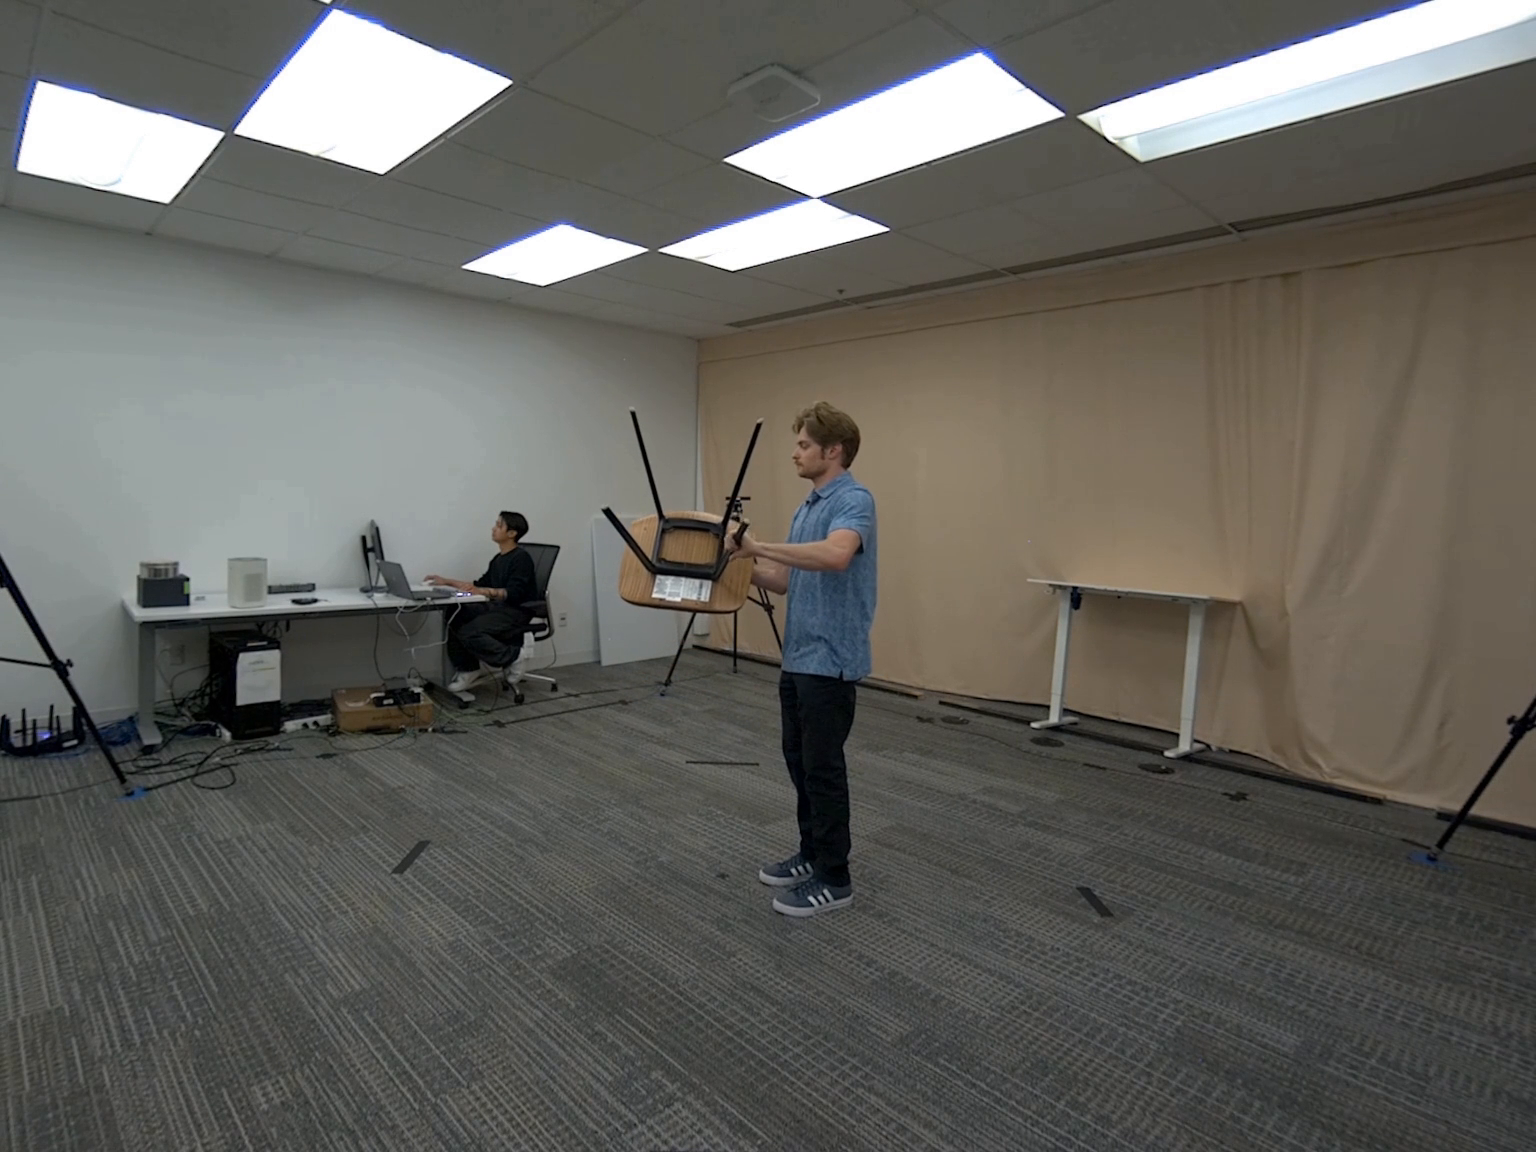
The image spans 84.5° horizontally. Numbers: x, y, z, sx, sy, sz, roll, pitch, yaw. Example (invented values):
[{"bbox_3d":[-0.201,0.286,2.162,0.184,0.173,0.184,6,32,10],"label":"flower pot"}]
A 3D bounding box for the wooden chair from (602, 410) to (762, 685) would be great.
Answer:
[{"bbox_3d":[-0.285,-0.095,3.002,0.479,0.532,0.861,6,-33,1],"label":"wooden chair"}]
